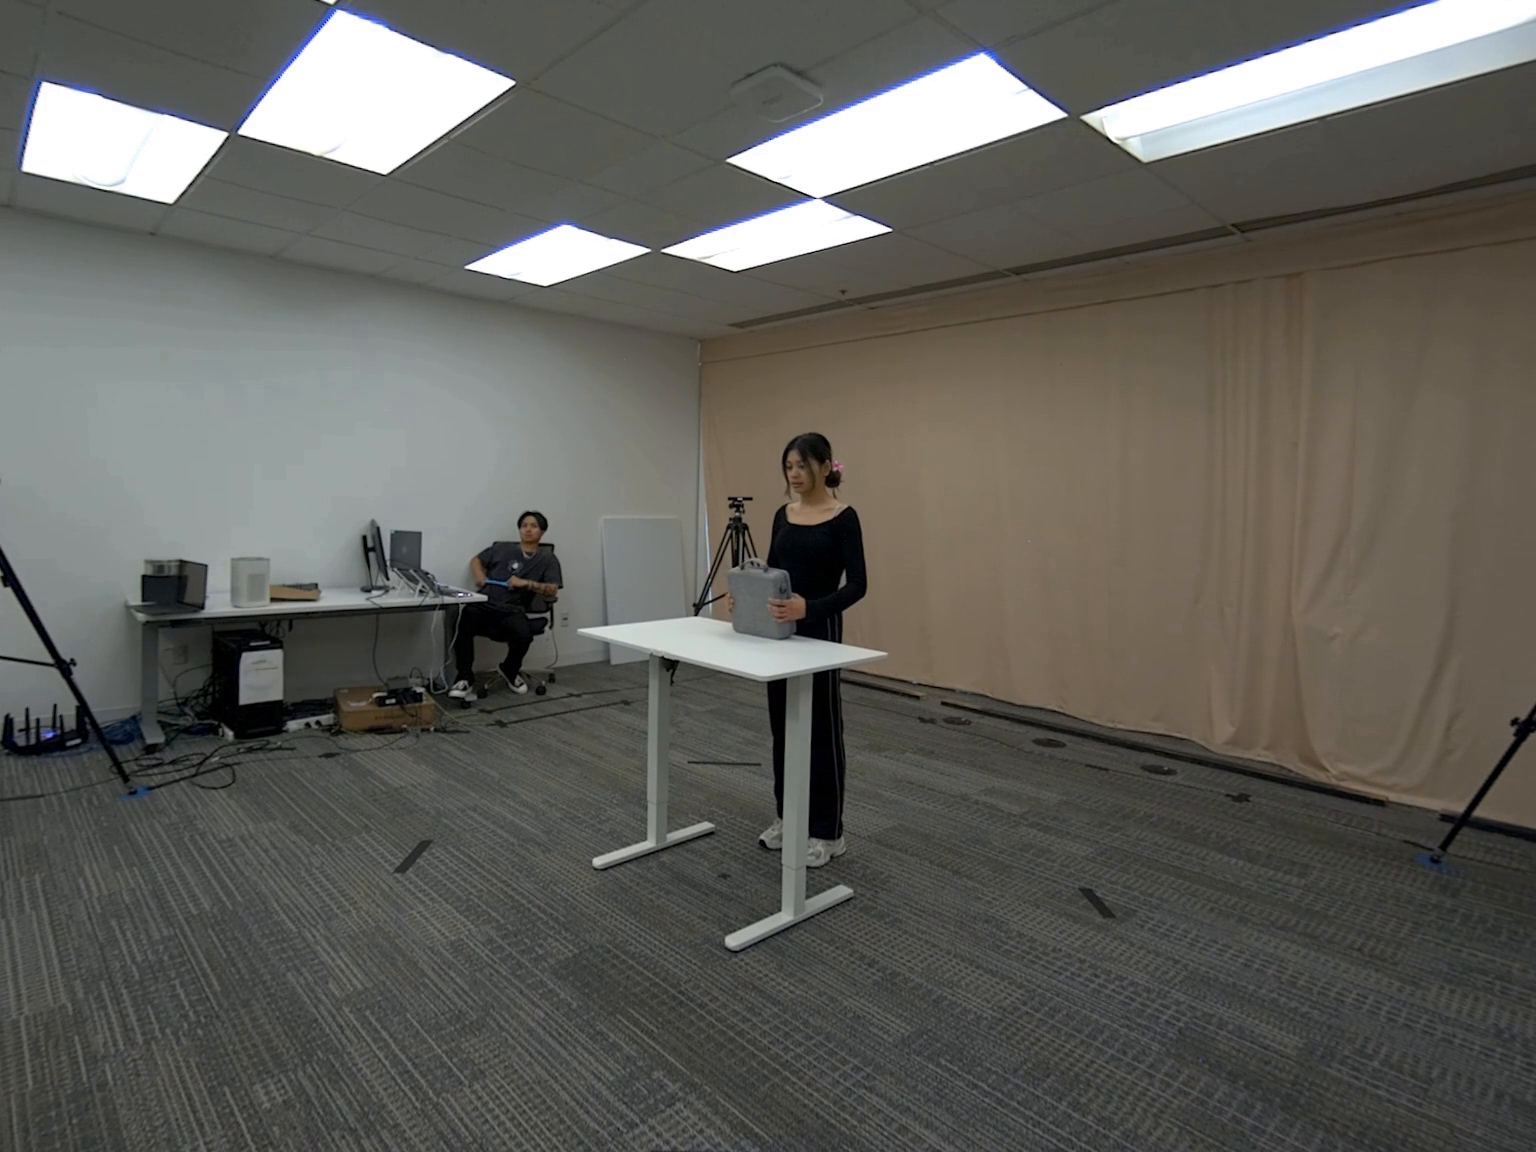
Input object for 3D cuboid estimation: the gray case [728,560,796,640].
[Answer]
[{"bbox_3d":[-0.027,0.092,3.128,0.263,0.258,0.102,6,16,44],"label":"gray case"}]
